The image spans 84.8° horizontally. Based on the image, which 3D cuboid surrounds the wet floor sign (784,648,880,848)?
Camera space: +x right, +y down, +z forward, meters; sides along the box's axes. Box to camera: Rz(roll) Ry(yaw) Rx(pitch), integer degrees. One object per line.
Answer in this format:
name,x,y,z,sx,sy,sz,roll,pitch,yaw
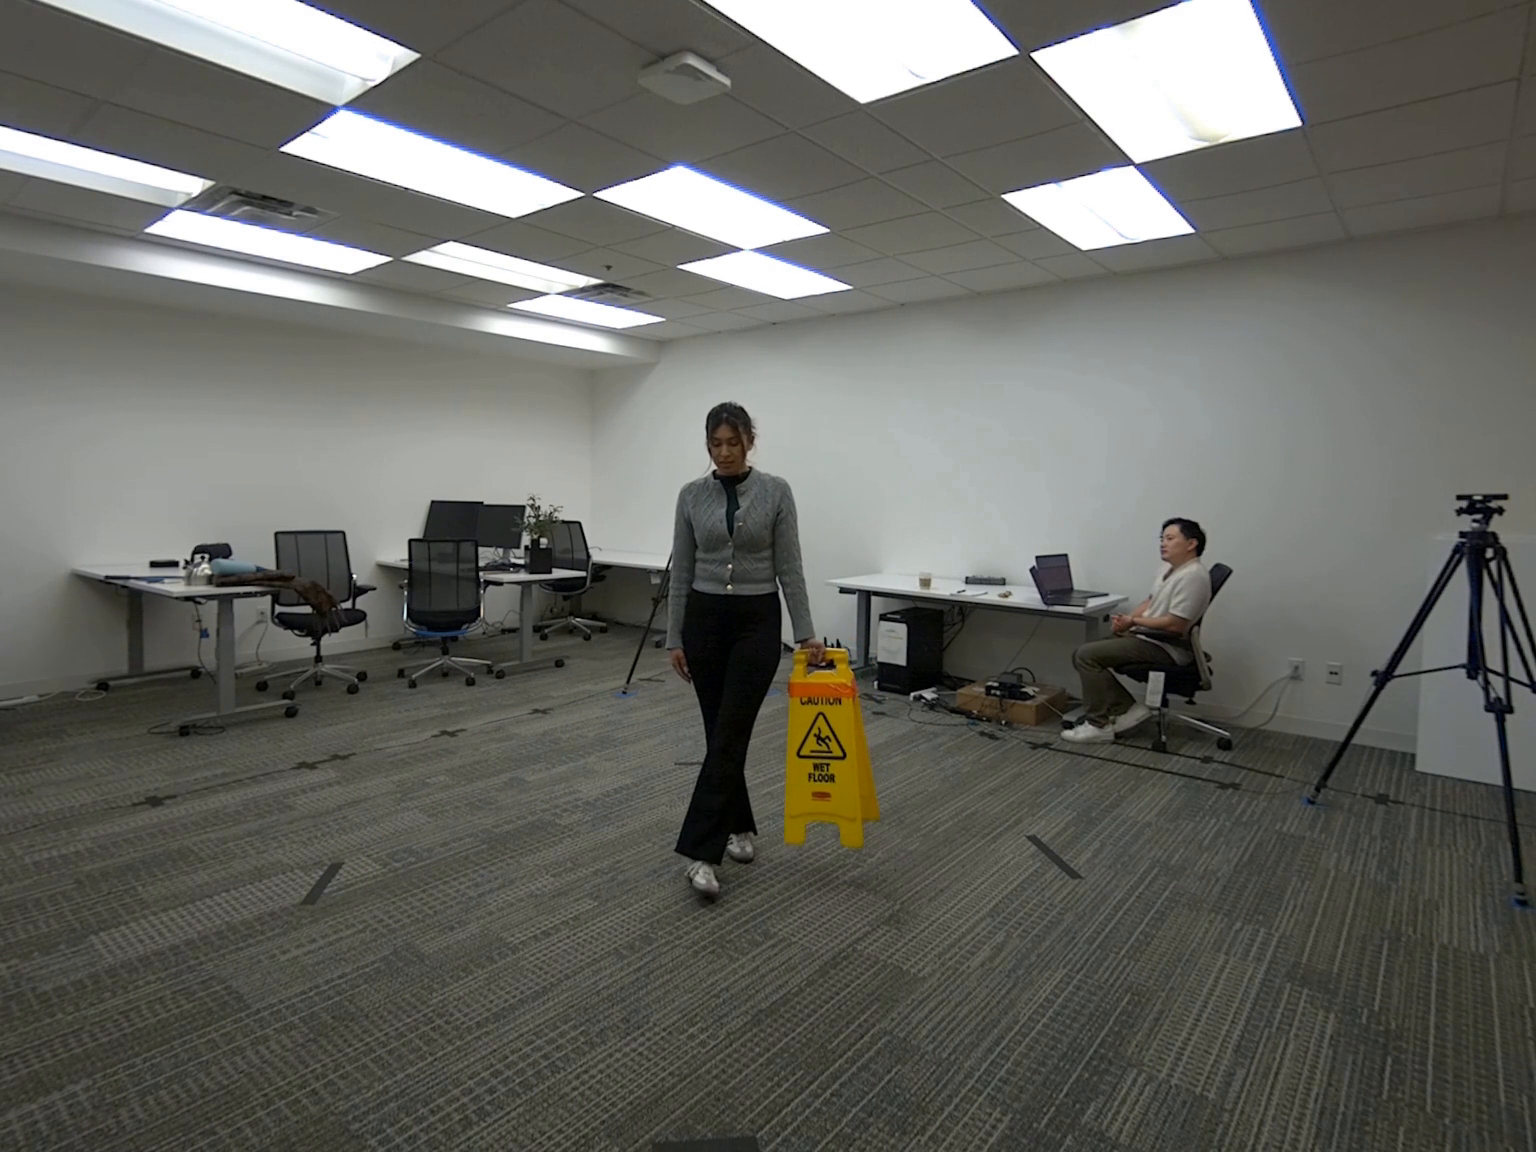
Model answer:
wet floor sign,0.203,0.581,3.023,0.288,0.647,0.284,-5,-1,20
